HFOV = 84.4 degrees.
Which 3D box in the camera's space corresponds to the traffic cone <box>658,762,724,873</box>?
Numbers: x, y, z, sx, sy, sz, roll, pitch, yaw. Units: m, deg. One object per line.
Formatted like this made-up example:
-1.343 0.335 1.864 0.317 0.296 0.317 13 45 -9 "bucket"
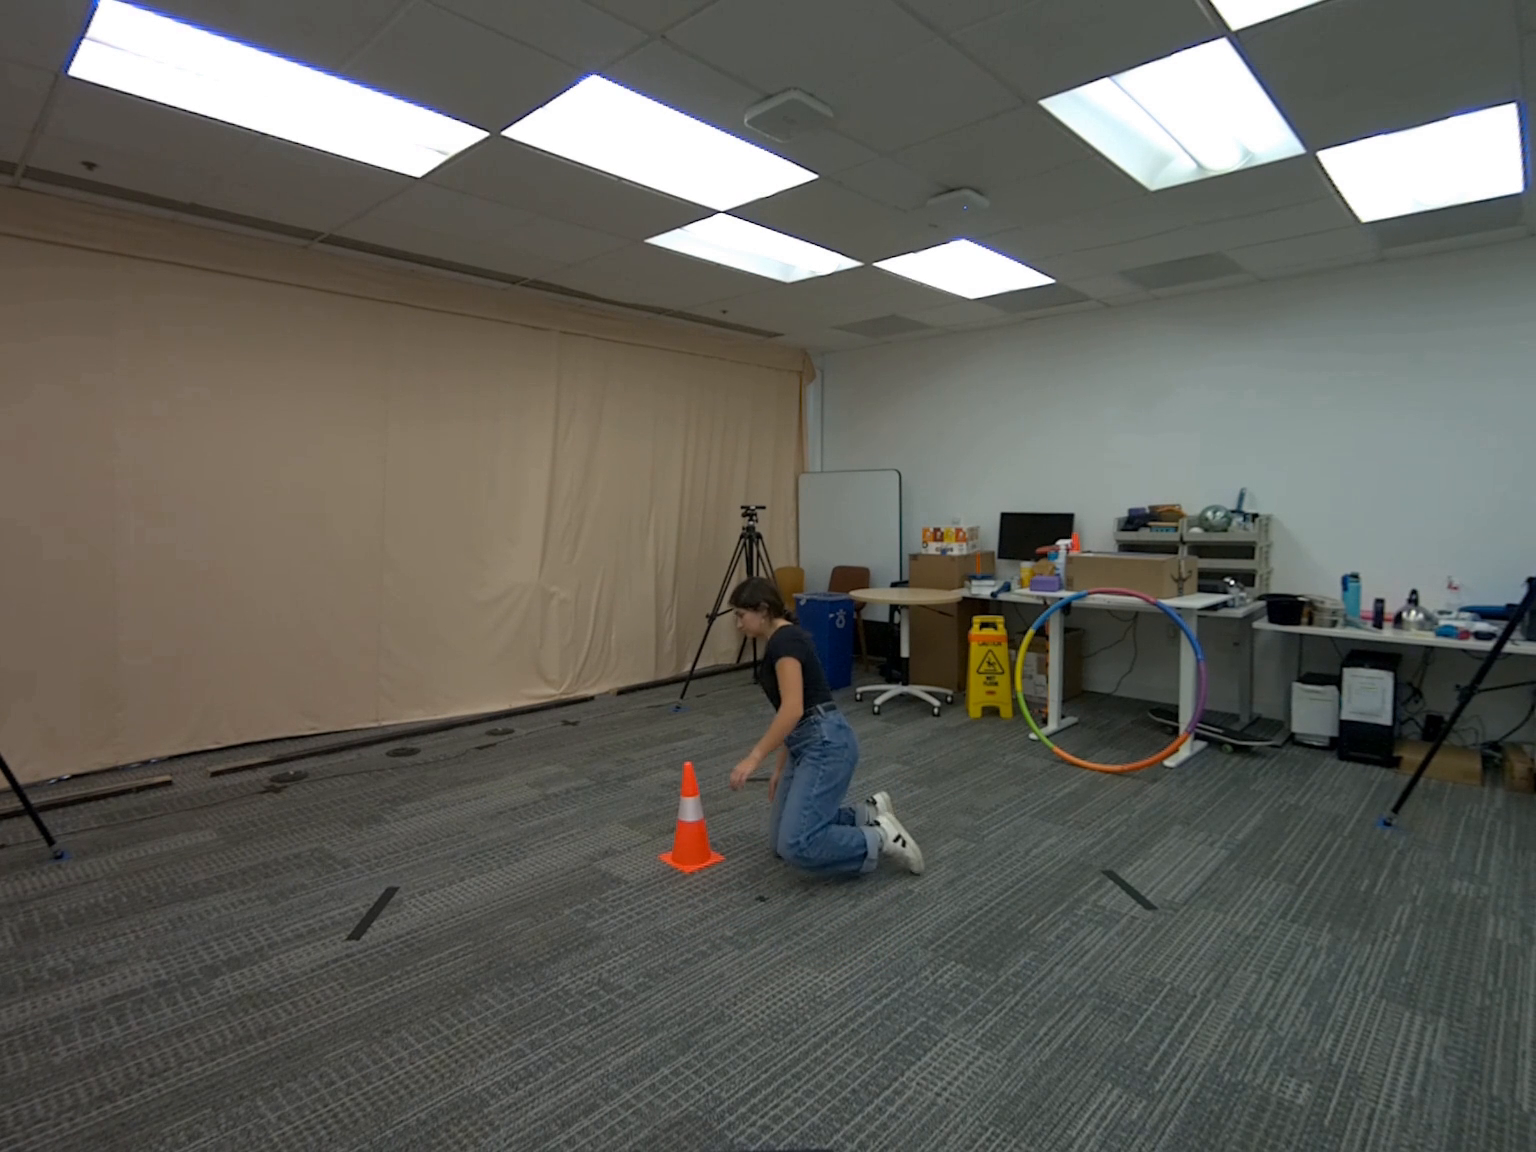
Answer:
-0.298 0.935 3.321 0.210 0.383 0.199 2 4 44 "traffic cone"
